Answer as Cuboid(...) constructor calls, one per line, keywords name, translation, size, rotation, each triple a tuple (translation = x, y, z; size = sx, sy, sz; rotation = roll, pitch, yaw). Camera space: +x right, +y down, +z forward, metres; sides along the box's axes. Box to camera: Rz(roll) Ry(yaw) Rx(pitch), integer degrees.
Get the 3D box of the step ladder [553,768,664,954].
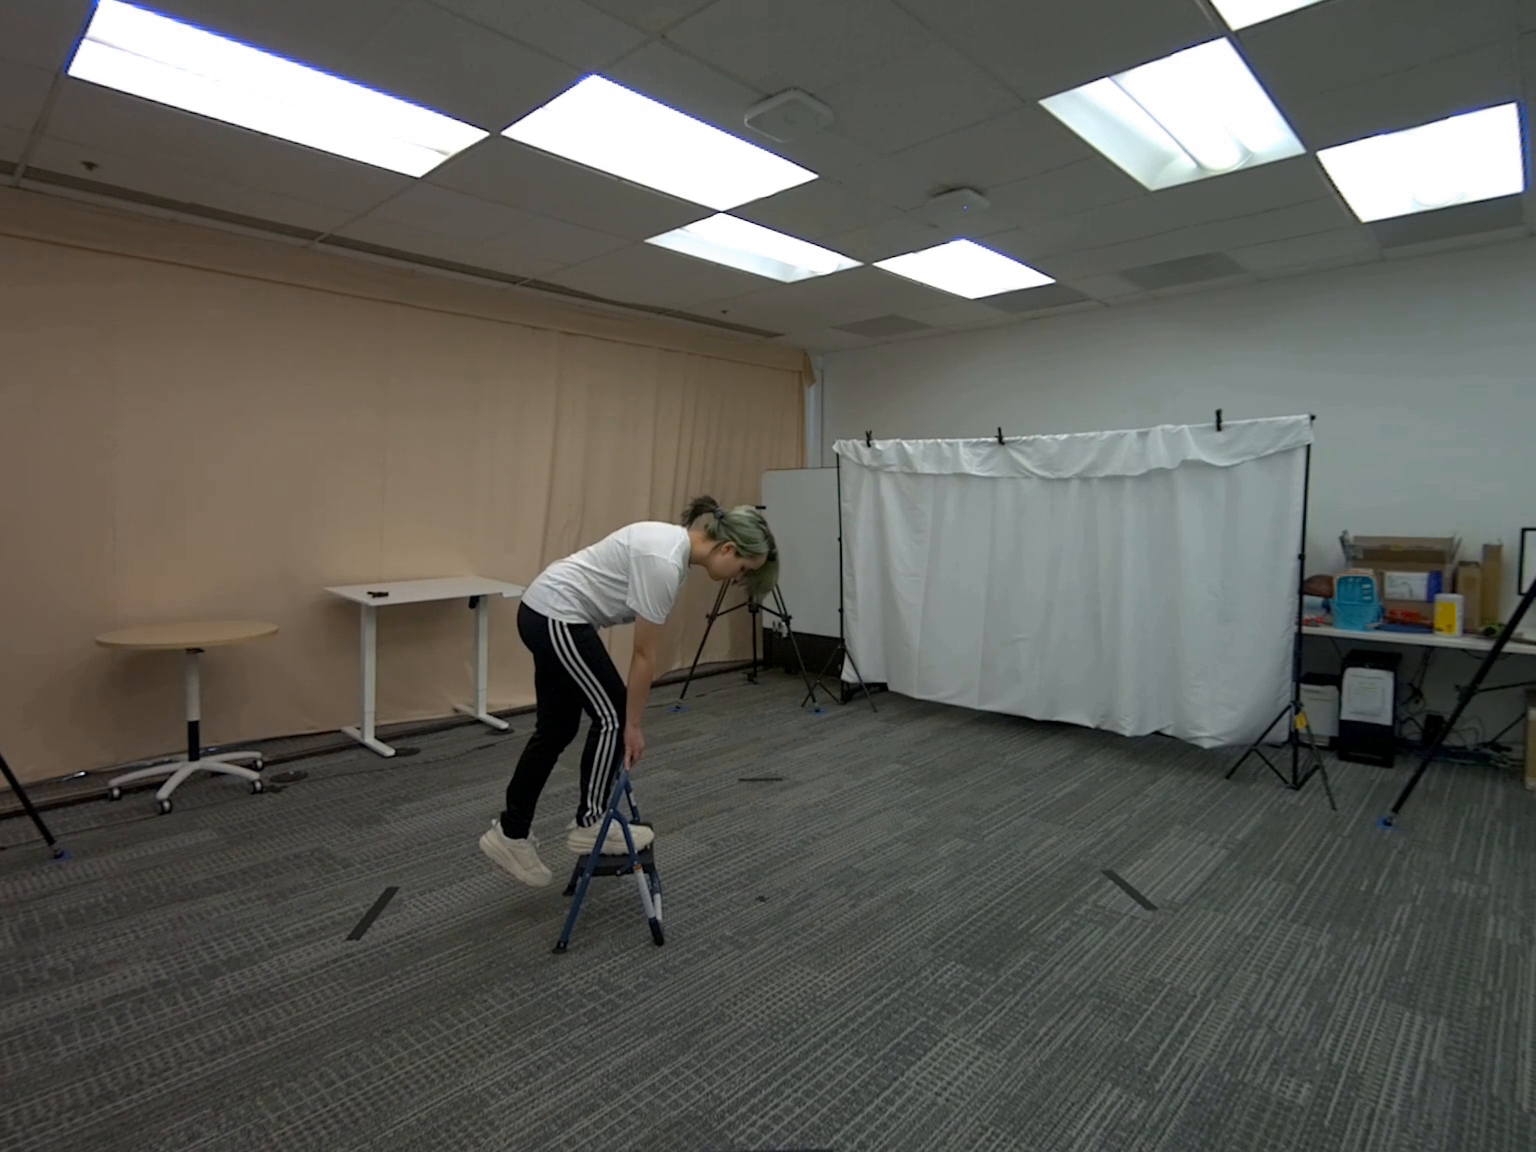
Cuboid(name="step ladder", translation=(-0.532, 0.862, 2.837), size=(0.347, 0.605, 0.435), rotation=(-1, 3, -8))
